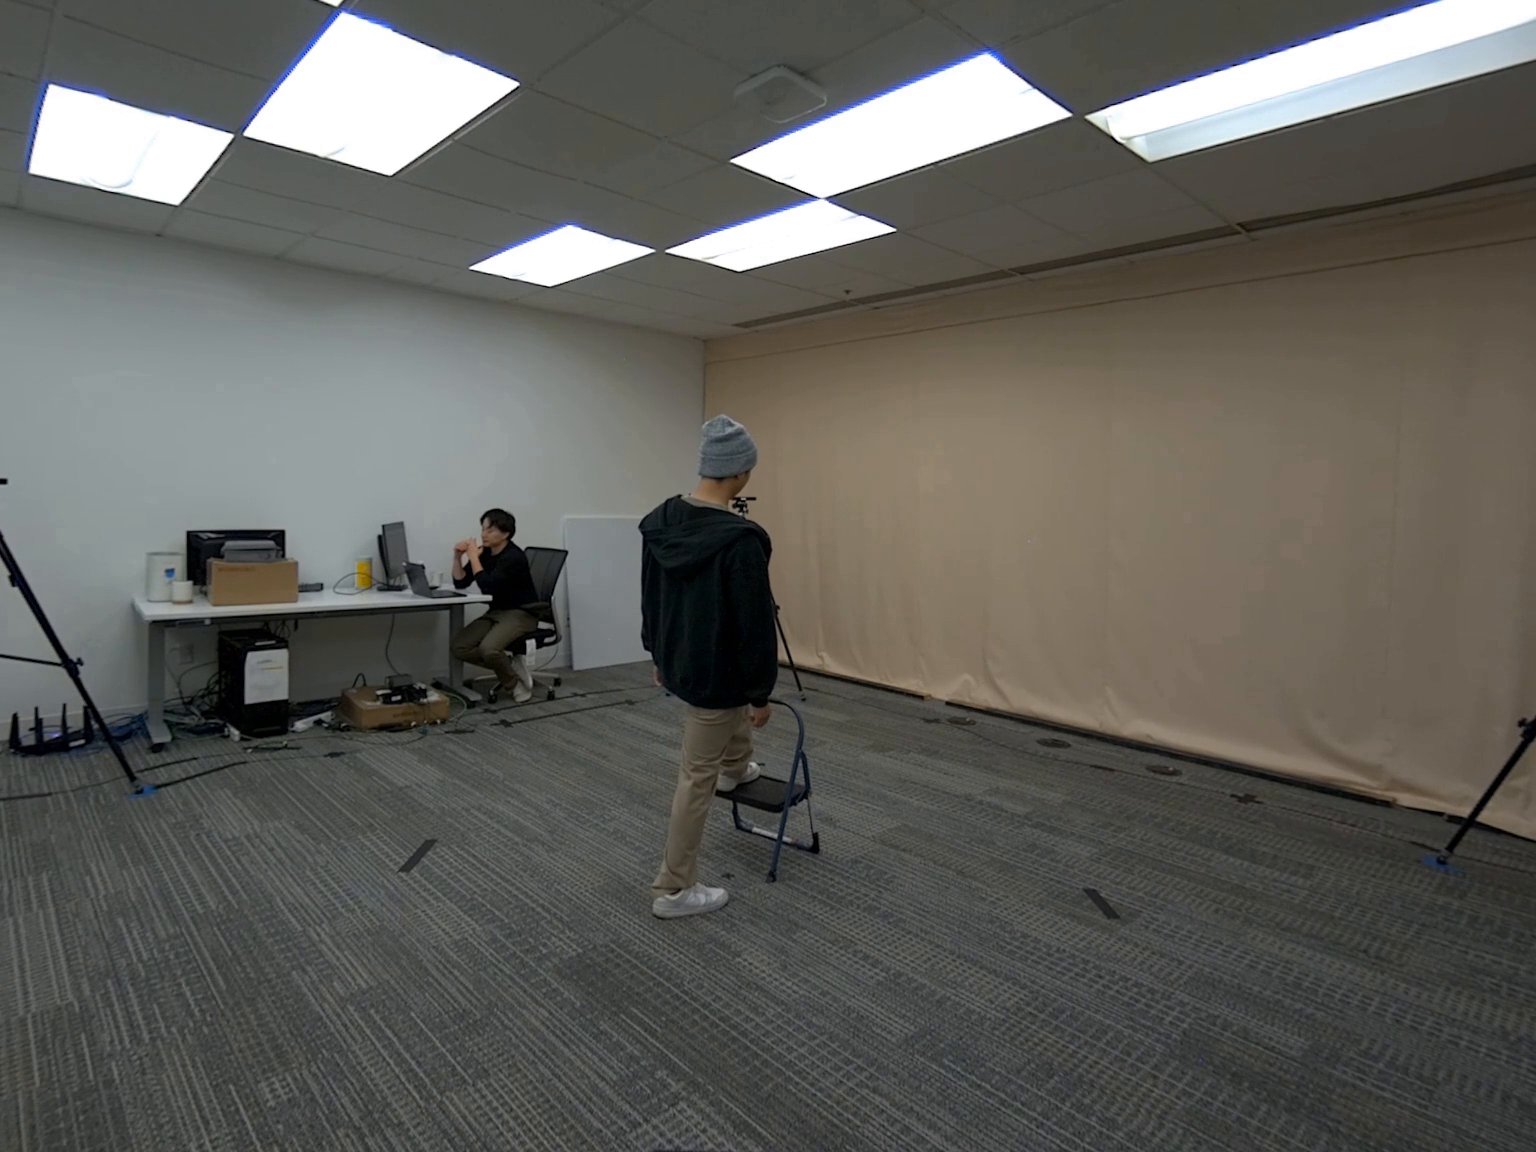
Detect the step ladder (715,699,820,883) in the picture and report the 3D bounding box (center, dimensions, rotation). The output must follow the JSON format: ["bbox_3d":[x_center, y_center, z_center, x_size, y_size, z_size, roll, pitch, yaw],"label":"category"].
[{"bbox_3d":[-0.054,0.790,3.307,0.441,0.605,0.341,4,4,37],"label":"step ladder"}]
